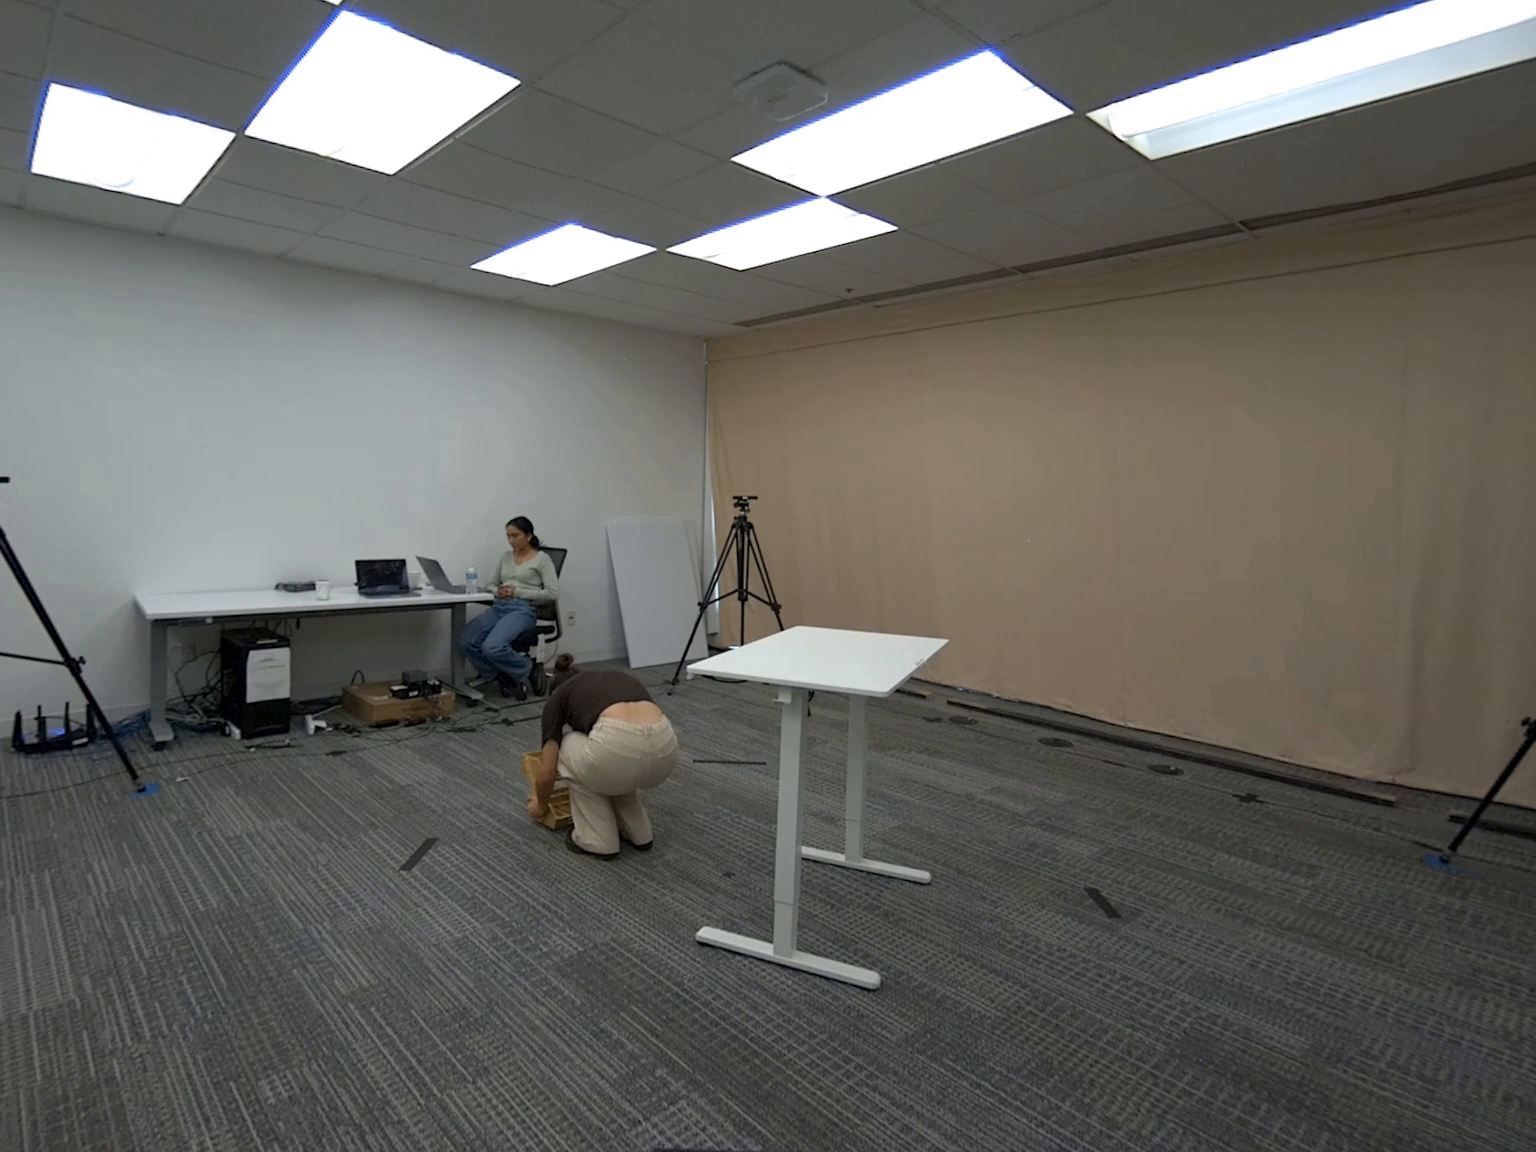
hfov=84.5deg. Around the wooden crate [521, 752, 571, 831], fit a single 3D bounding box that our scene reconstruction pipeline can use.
[{"bbox_3d":[-0.869,0.899,3.646,0.317,0.273,0.309,-1,0,-40],"label":"wooden crate"}]
